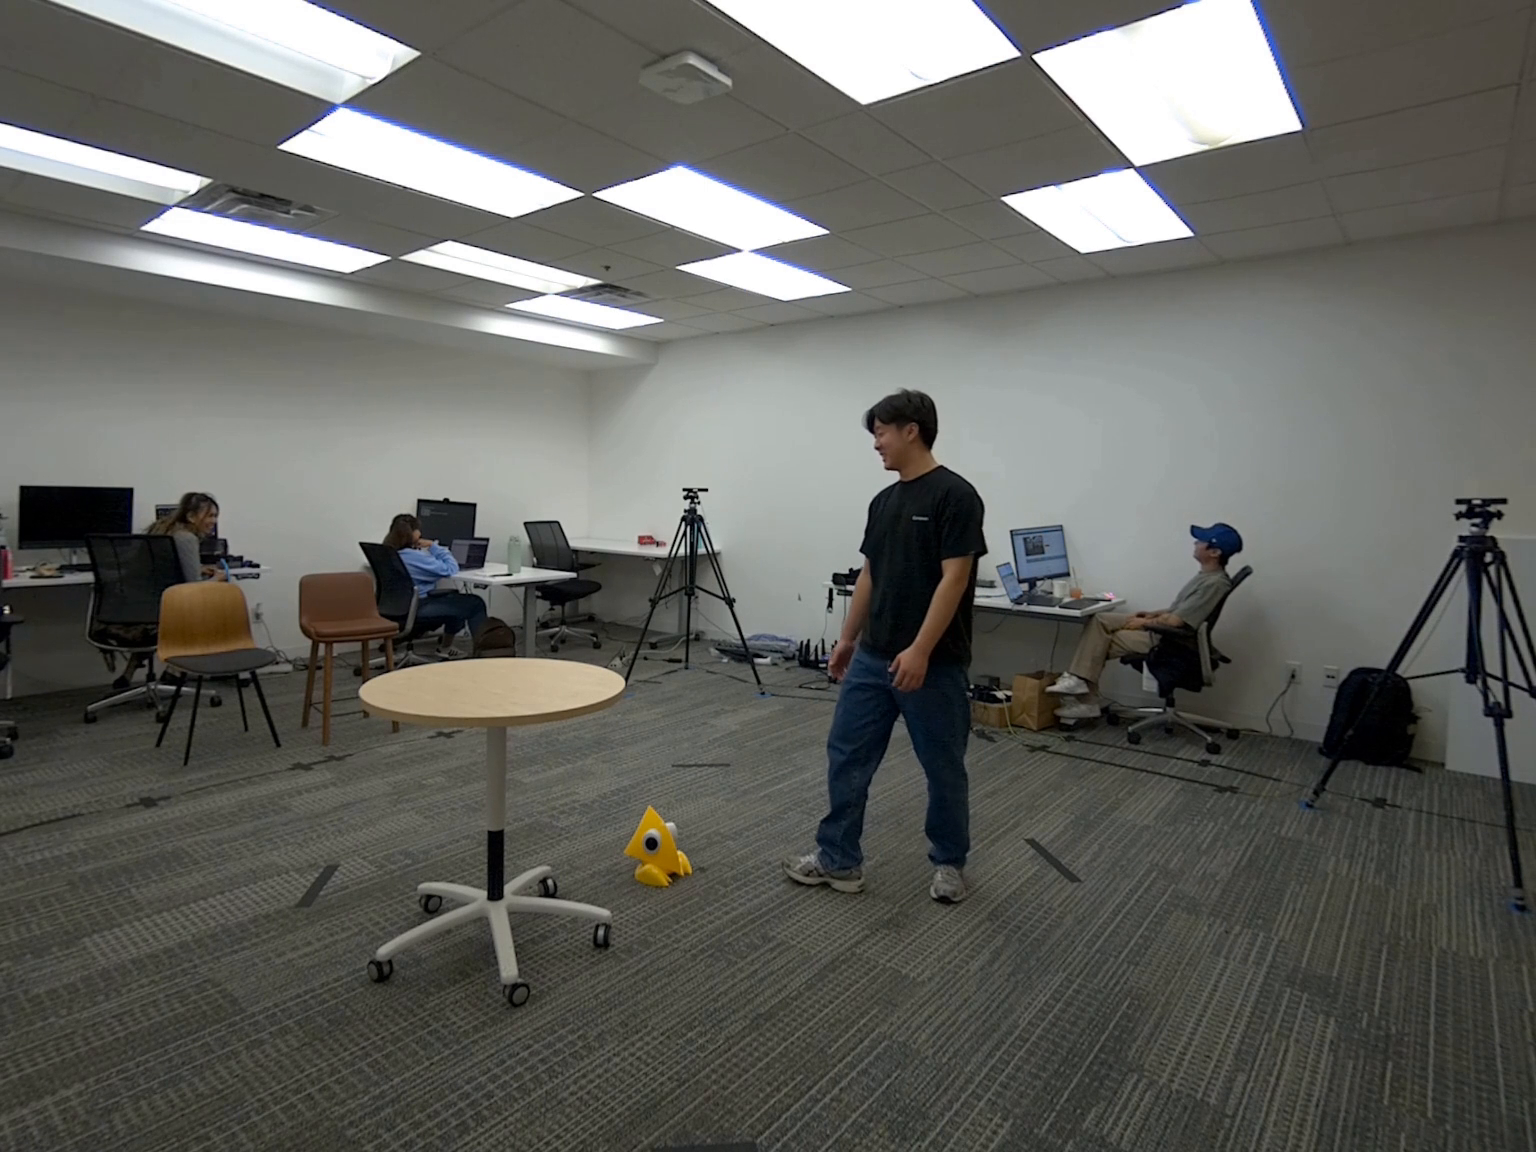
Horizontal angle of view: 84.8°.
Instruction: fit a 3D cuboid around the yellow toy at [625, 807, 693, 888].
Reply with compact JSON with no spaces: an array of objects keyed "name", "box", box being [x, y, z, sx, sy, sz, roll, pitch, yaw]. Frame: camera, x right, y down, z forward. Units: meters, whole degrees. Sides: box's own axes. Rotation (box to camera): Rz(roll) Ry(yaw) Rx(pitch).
[{"name":"yellow toy","box":[-0.395,0.956,3.072,0.199,0.230,0.199,4,5,39]}]
